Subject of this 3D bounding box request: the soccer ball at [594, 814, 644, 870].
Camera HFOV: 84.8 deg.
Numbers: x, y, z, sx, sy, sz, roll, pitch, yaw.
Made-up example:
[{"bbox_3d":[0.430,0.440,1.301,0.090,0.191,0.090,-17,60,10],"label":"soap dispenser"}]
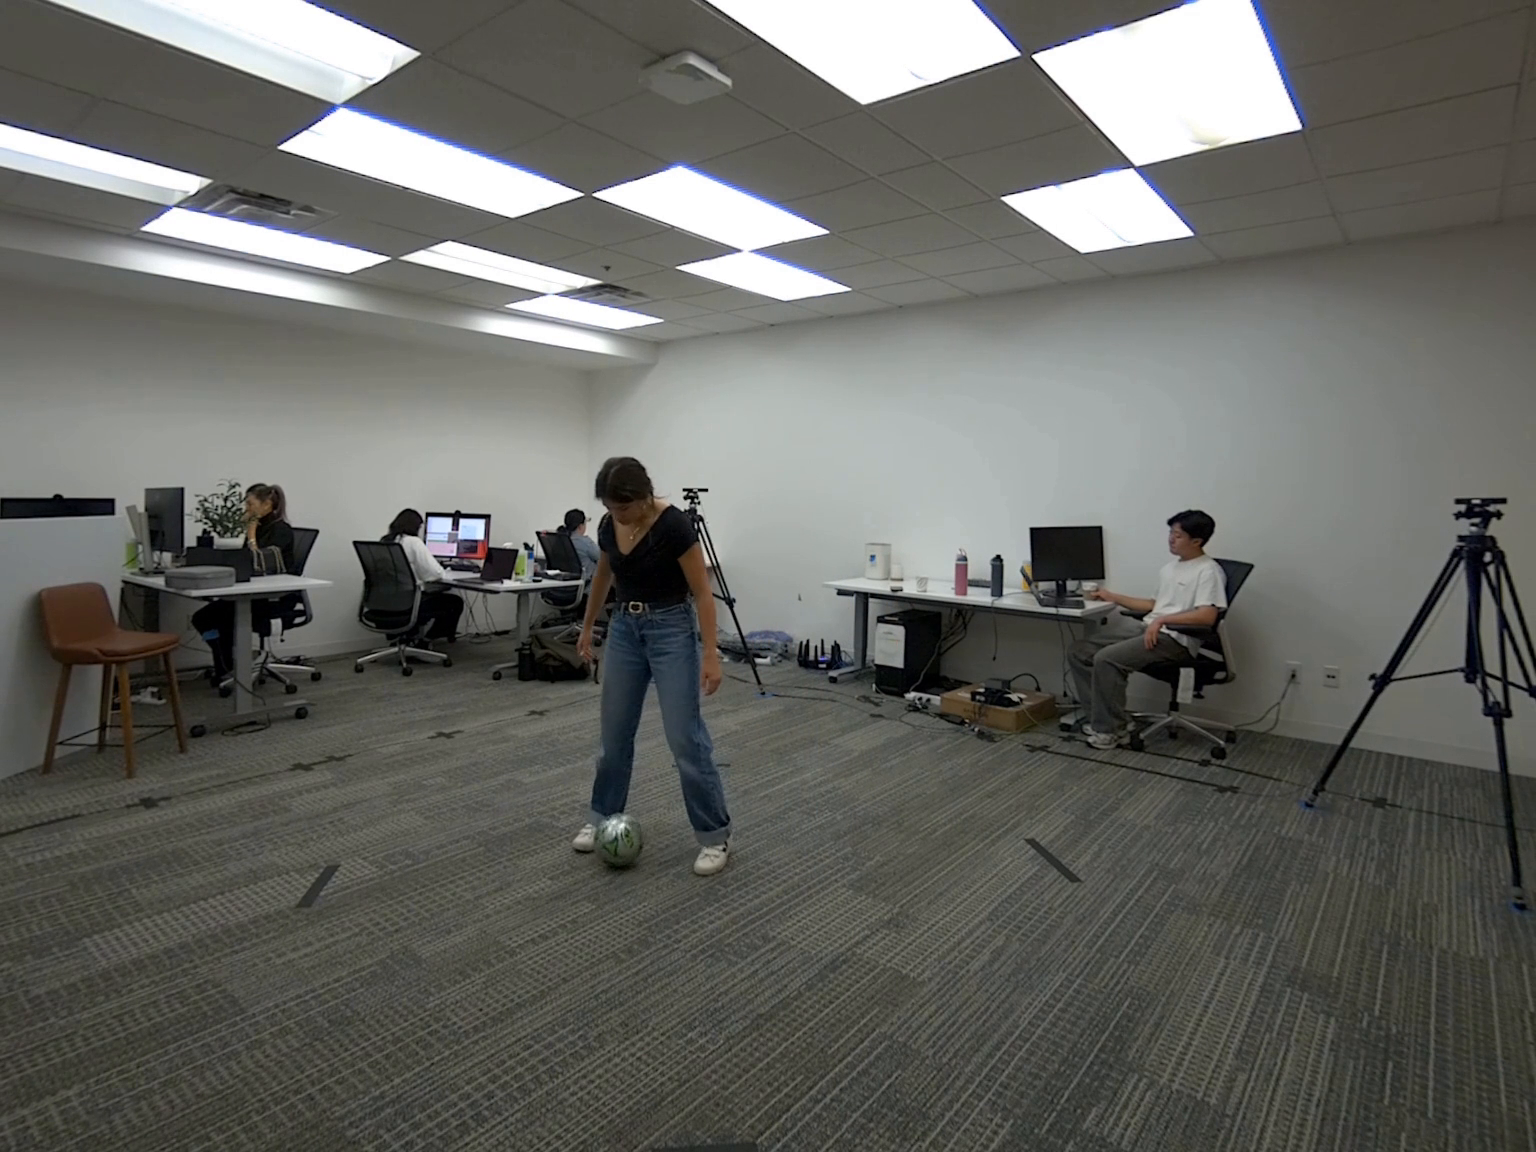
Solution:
[{"bbox_3d":[-0.553,0.963,3.135,0.187,0.187,0.188,1,4,-2],"label":"soccer ball"}]
